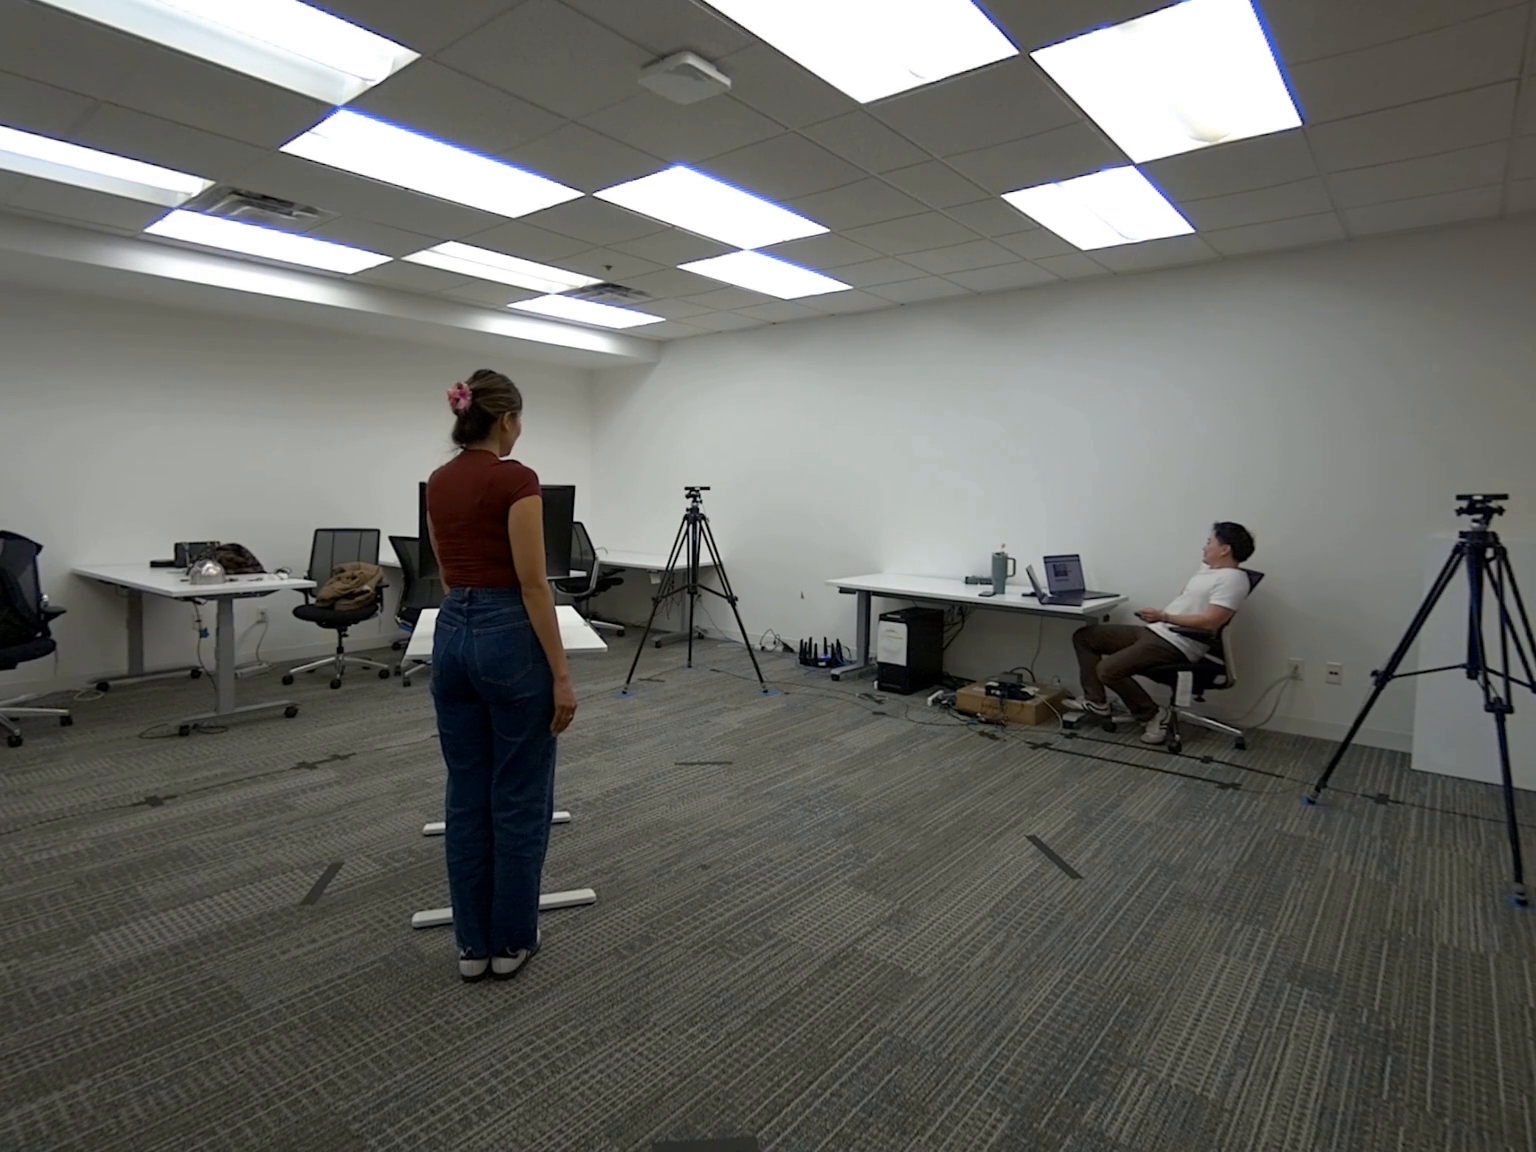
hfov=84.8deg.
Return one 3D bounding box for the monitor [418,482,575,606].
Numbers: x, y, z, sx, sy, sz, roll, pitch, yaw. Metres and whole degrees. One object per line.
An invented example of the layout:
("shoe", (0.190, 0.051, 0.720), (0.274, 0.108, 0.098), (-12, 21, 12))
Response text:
("monitor", (-0.966, -0.071, 3.002), (0.527, 0.520, 0.192), (0, 5, -23))
